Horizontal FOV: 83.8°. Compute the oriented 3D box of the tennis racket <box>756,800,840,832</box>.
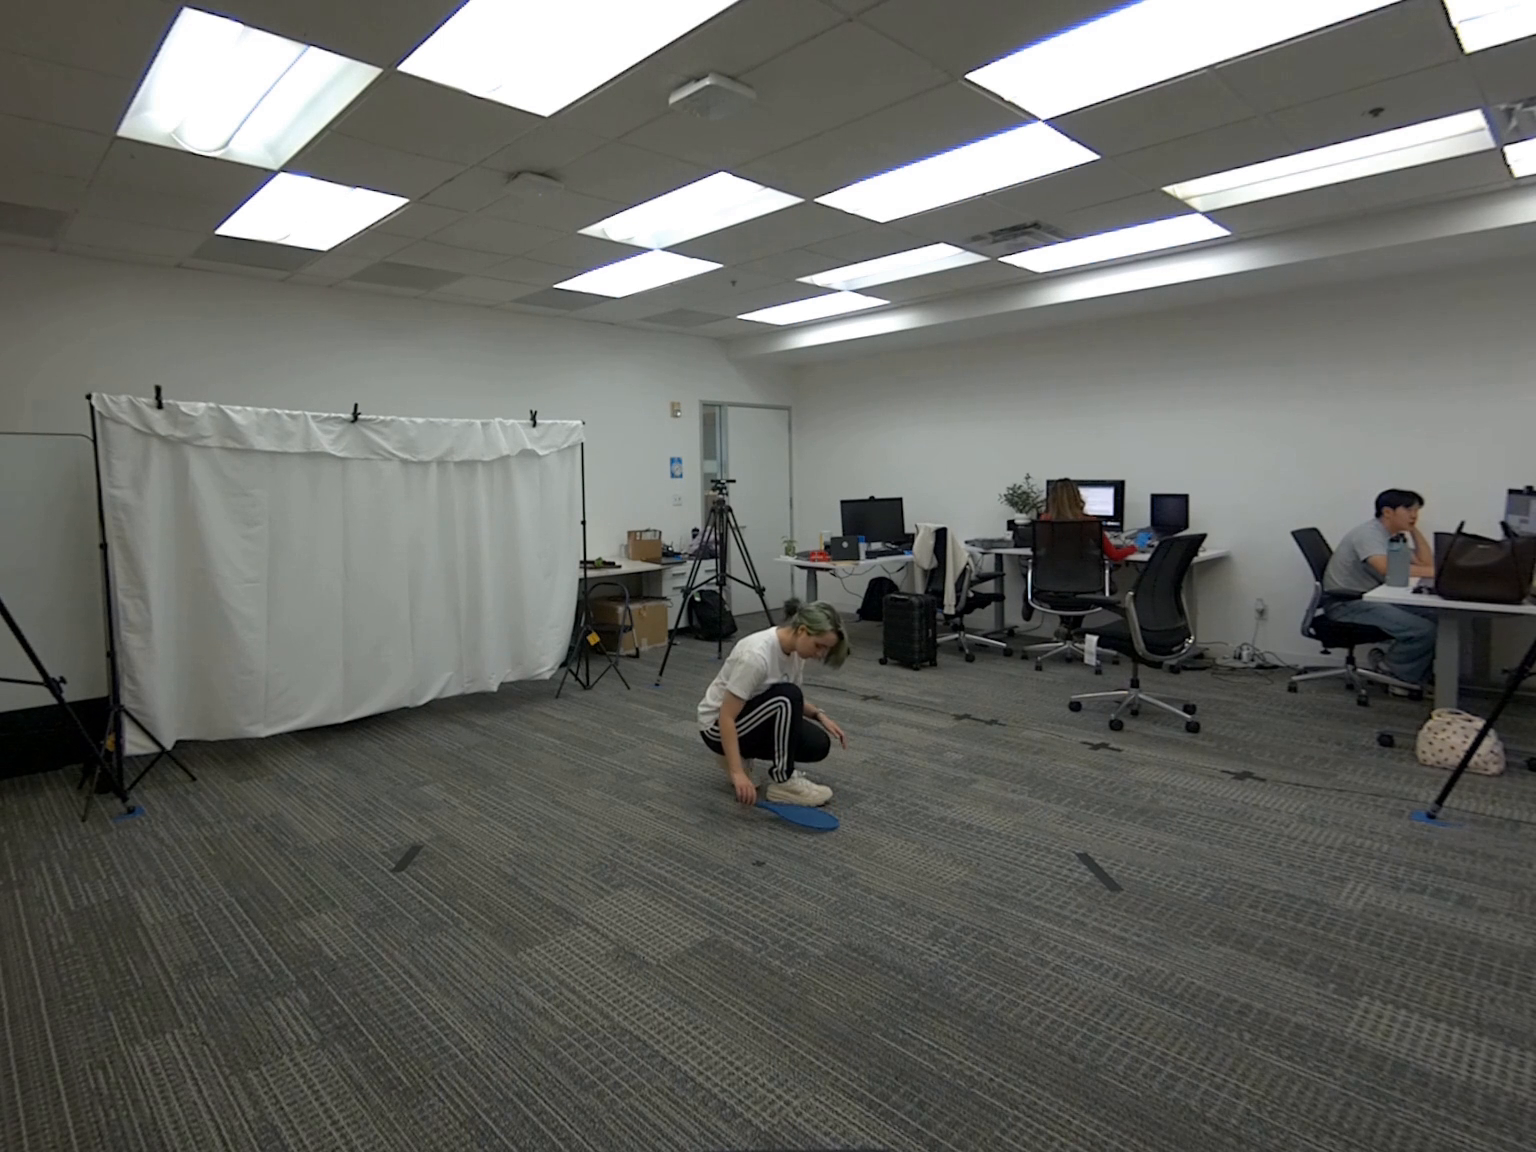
[{"bbox_3d":[0.082,0.964,3.485,0.438,0.031,0.212,10,5,10],"label":"tennis racket"}]
